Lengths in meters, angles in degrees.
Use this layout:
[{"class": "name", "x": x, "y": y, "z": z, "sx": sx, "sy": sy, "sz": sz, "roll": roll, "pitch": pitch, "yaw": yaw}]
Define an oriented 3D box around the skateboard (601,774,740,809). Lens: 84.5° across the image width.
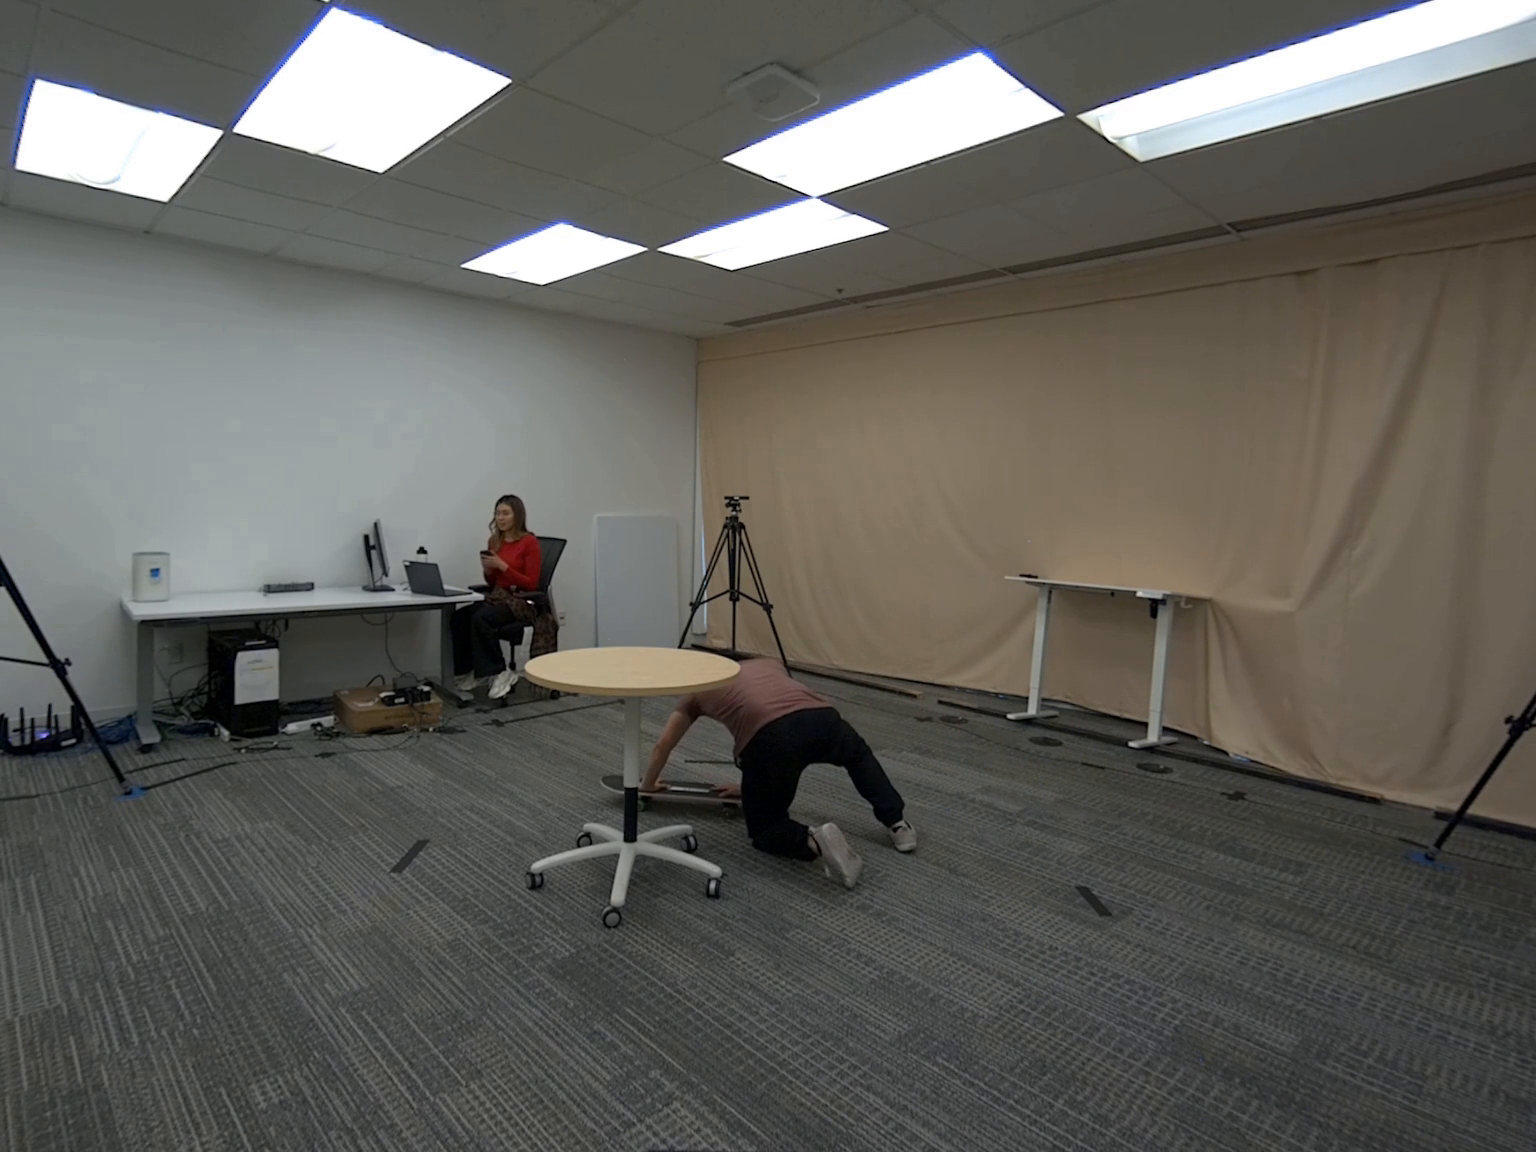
[{"class": "skateboard", "x": -0.369, "y": 0.980, "z": 3.766, "sx": 0.790, "sy": 0.110, "sz": 0.193, "roll": 2, "pitch": 4, "yaw": 7}]
